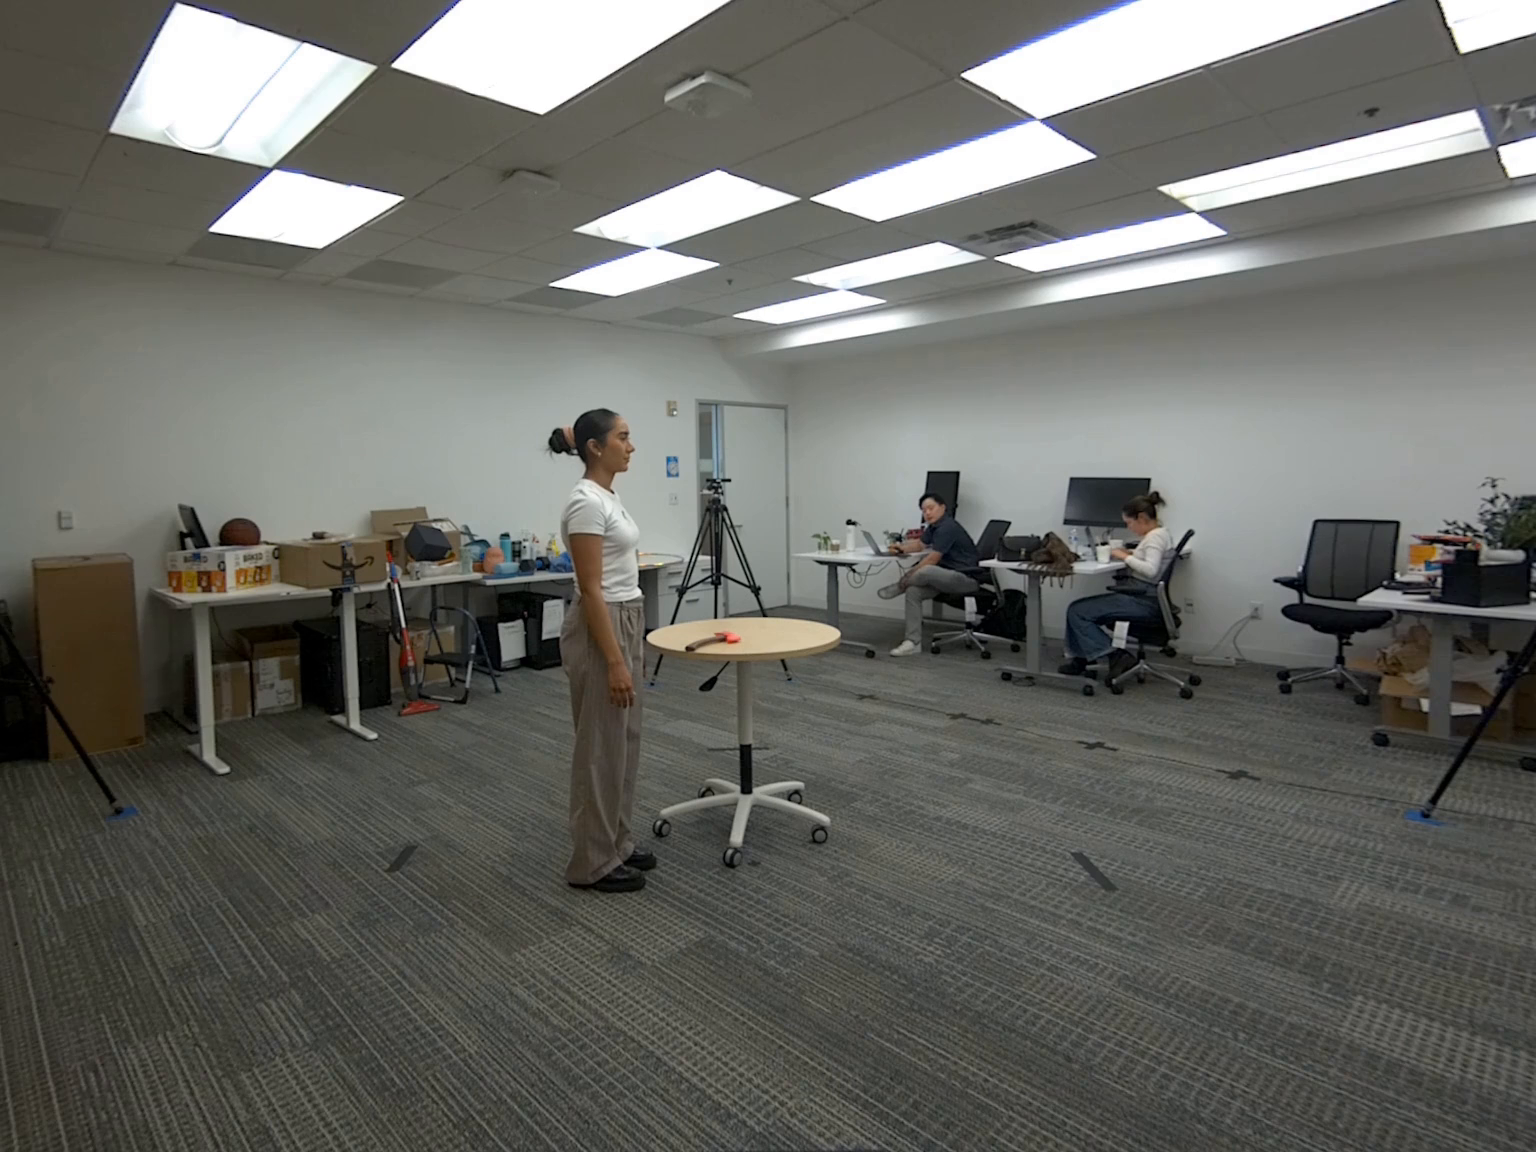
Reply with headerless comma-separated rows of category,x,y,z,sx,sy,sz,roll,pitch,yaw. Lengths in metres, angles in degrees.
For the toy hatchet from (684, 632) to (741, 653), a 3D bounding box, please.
toy hatchet,-0.194,0.247,3.163,0.134,0.029,0.266,6,11,22
